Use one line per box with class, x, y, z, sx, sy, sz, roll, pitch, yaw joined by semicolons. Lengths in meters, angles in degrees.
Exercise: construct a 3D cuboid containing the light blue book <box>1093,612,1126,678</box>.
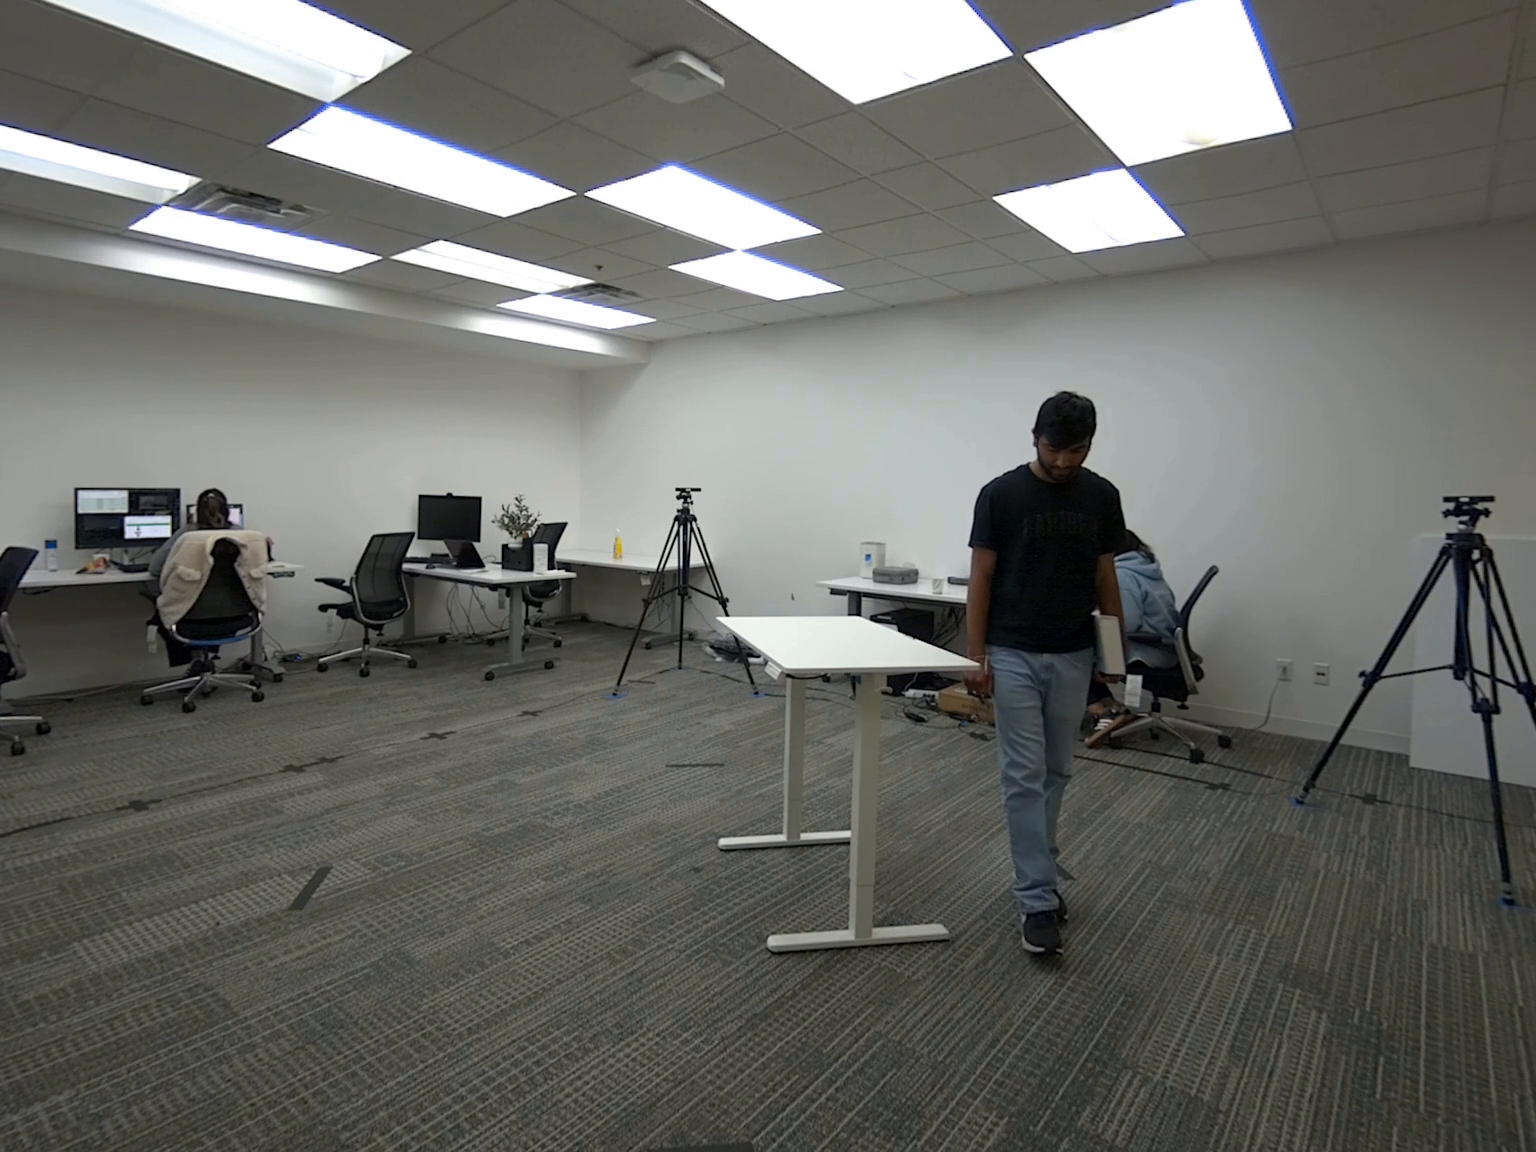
light blue book;1.101;0.220;2.836;0.059;0.192;0.259;-7;0;5
